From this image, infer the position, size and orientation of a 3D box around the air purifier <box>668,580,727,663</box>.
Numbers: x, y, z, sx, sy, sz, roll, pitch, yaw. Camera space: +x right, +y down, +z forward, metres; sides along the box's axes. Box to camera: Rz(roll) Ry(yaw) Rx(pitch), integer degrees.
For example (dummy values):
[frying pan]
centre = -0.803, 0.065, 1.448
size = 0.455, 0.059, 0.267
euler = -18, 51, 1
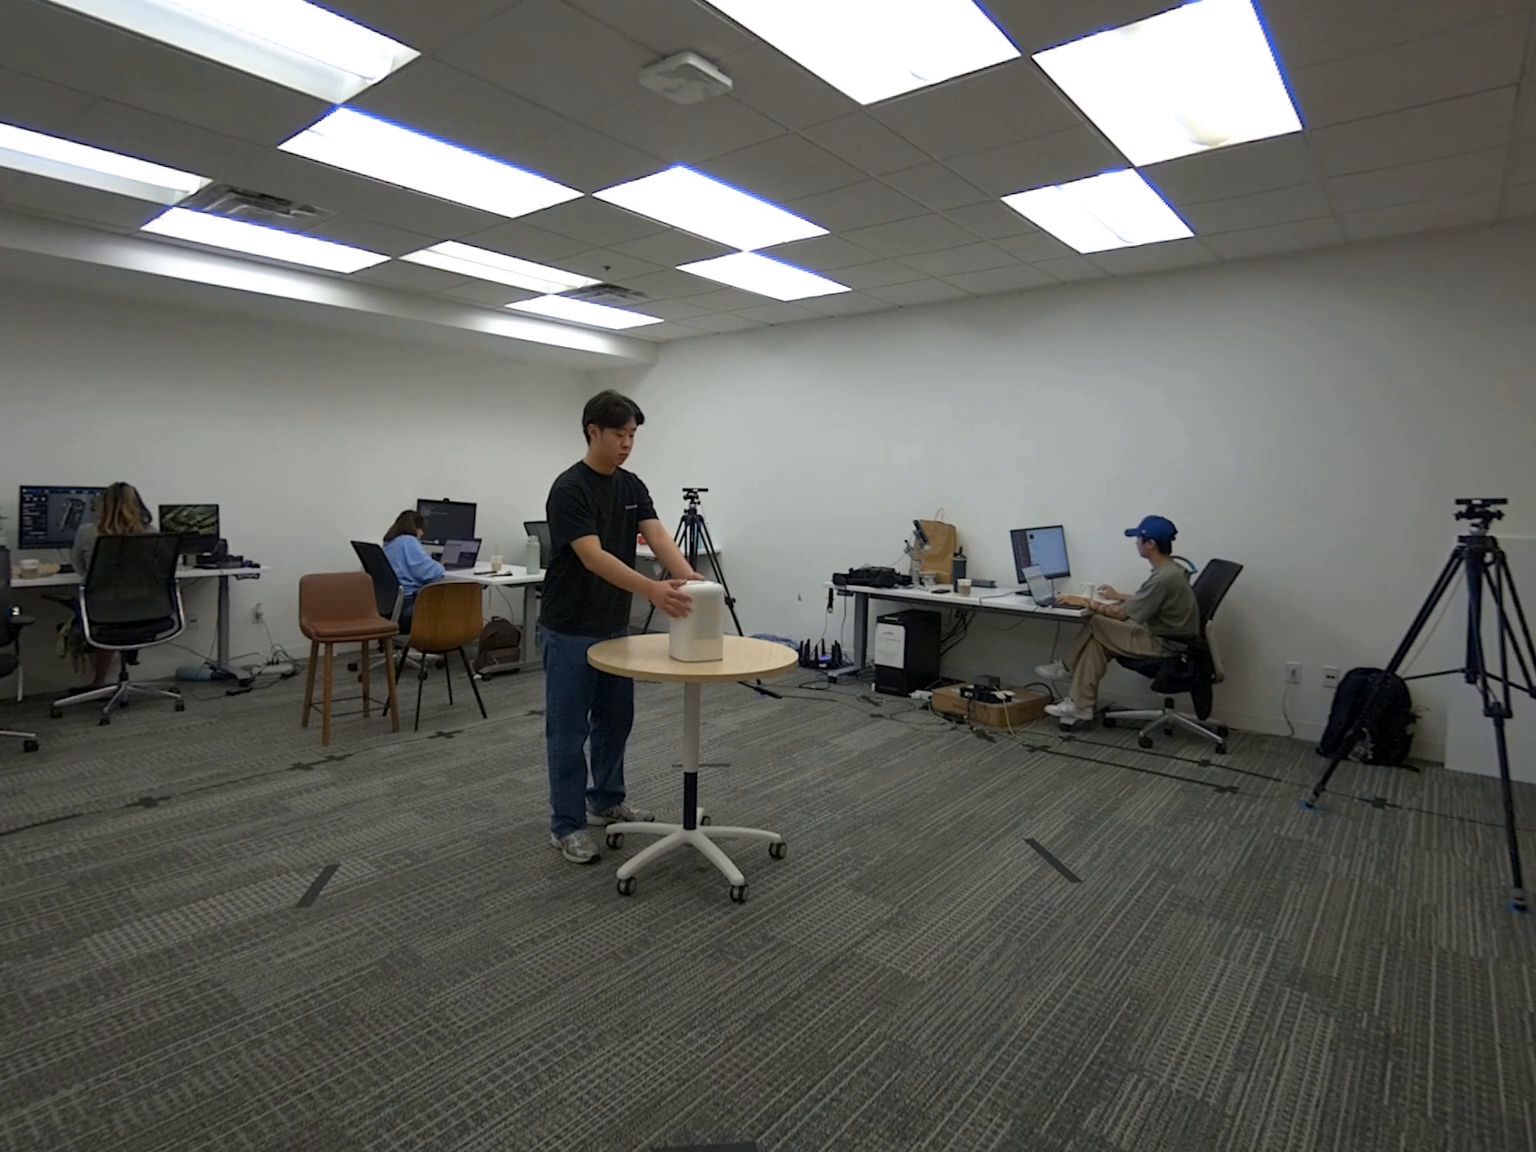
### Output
[air purifier]
centre = -0.261, 0.153, 2.992
size = 0.168, 0.264, 0.176
euler = -2, 6, -25
